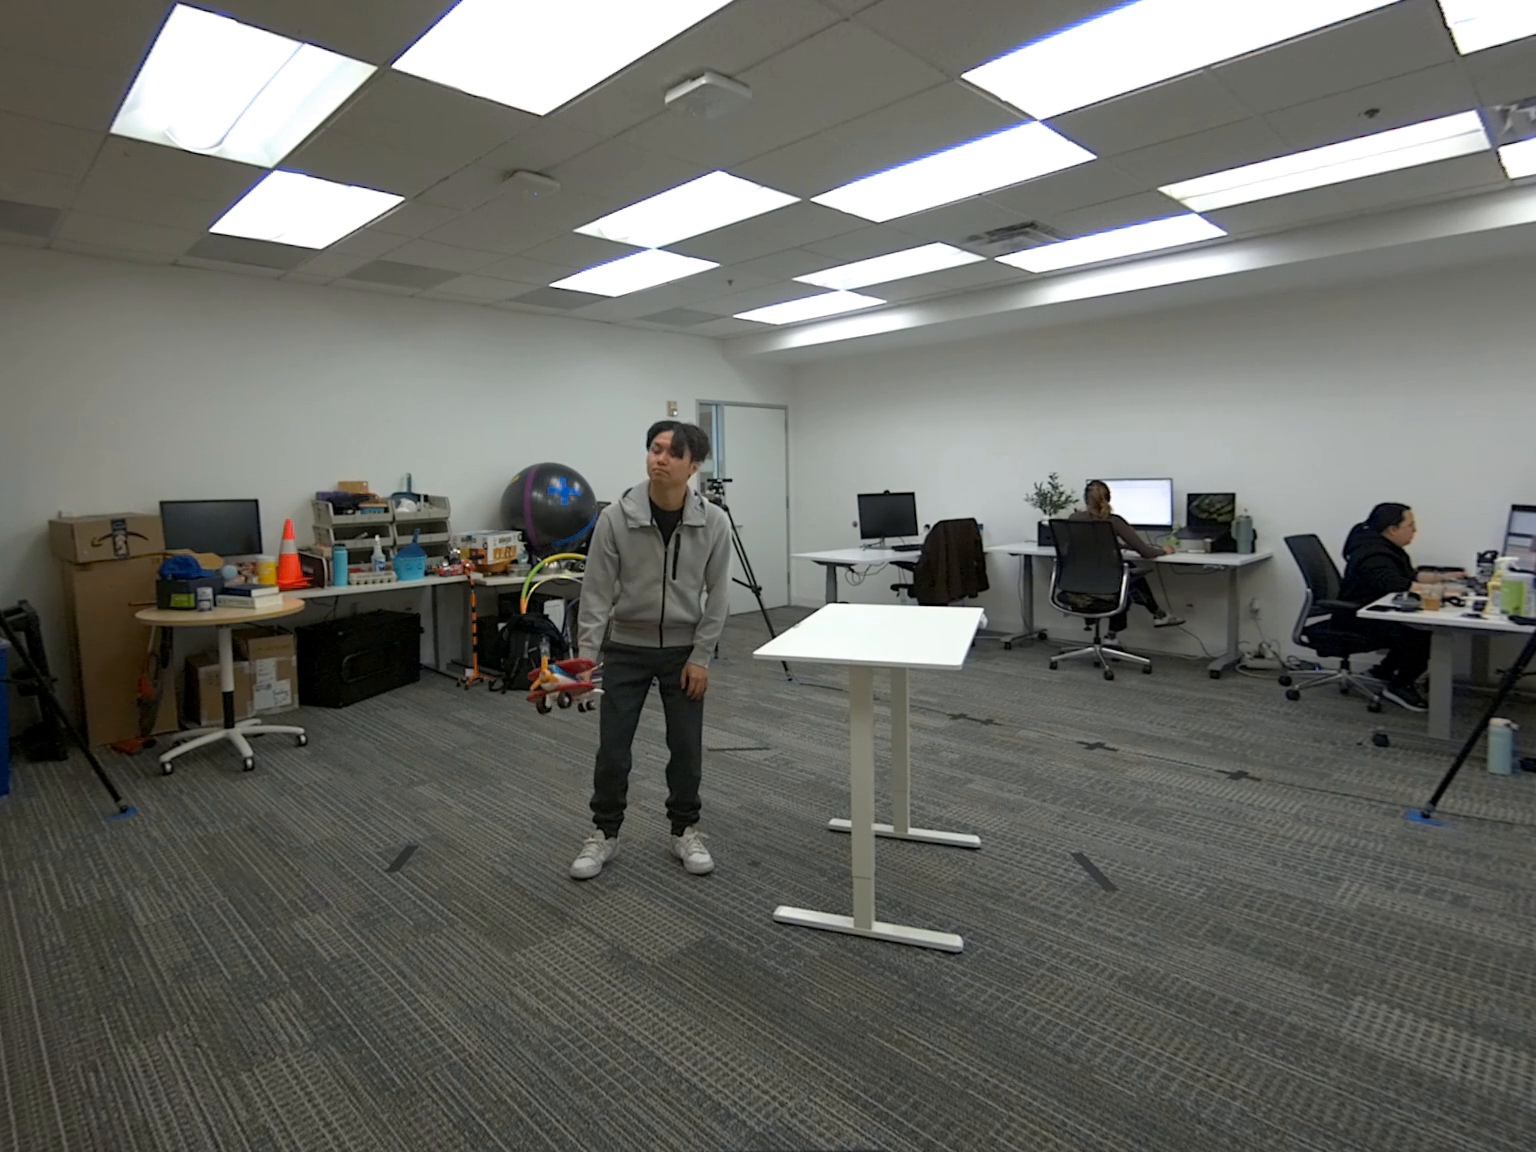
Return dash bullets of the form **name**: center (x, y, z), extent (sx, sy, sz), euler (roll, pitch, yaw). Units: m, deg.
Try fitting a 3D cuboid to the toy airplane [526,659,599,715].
- **toy airplane**: center (-0.691, 0.385, 2.862), extent (0.250, 0.159, 0.256), euler (-10, -13, -5)
